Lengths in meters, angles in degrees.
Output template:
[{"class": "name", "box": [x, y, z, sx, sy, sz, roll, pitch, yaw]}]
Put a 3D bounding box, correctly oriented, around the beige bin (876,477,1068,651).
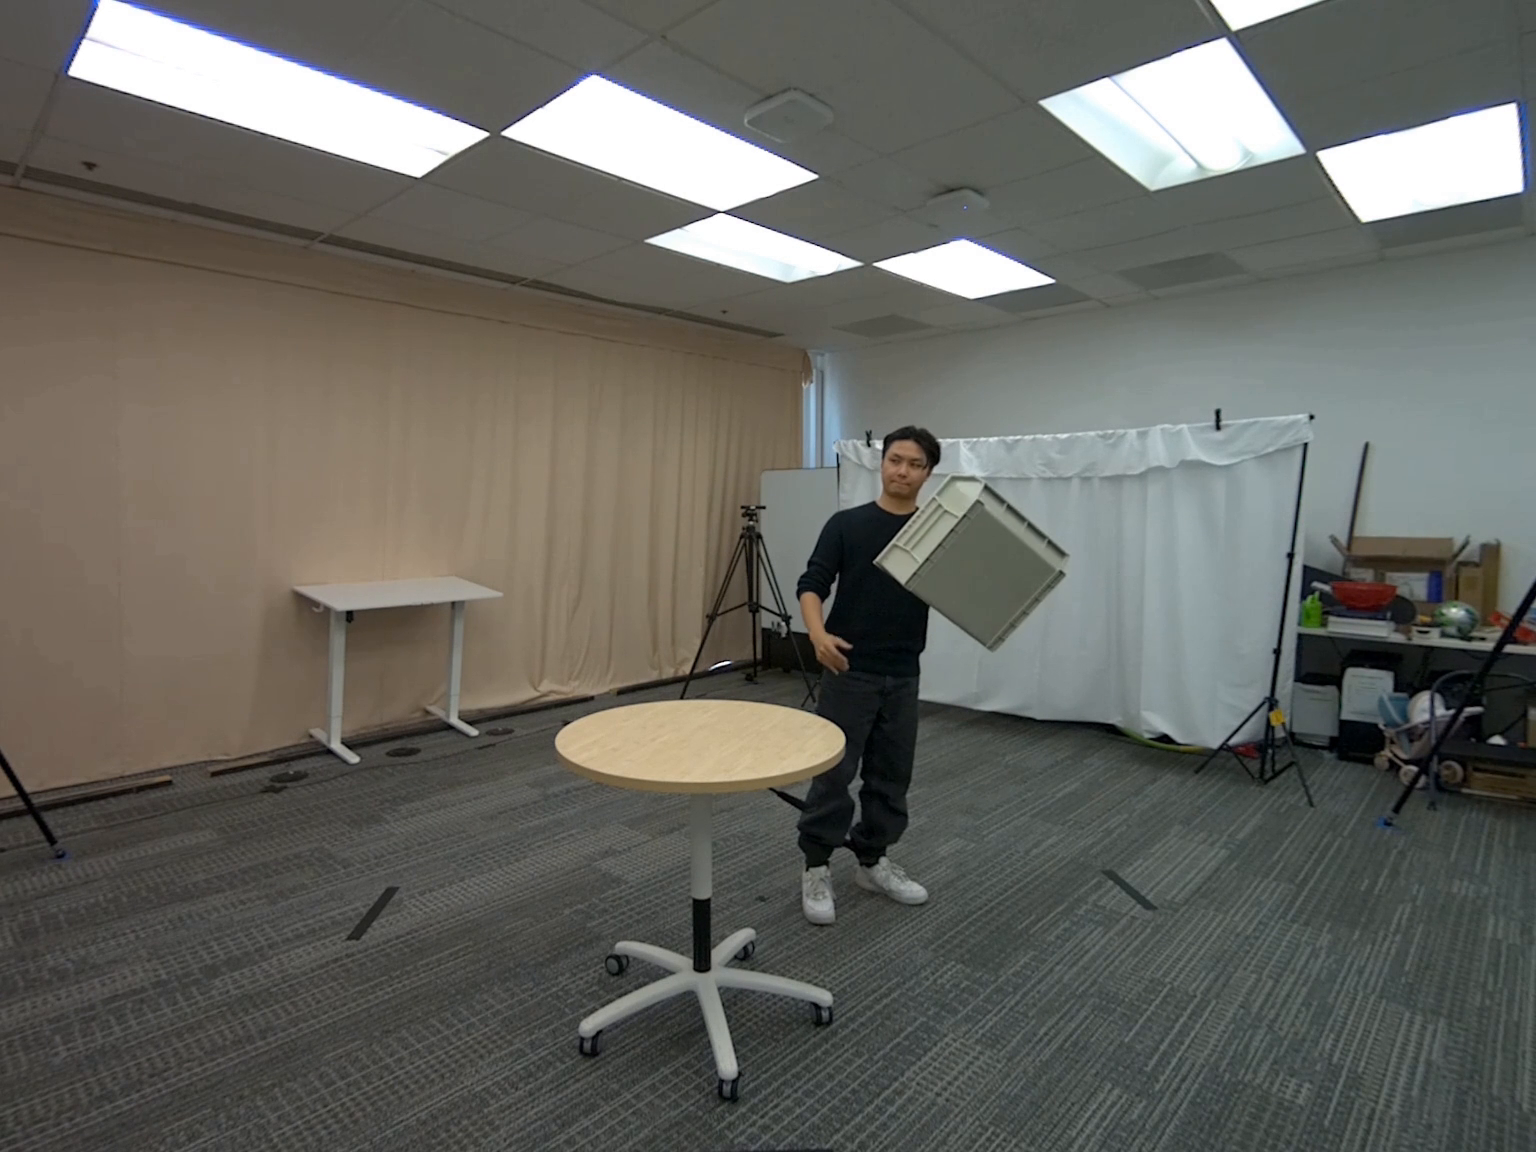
[{"class": "beige bin", "box": [0.611, -0.037, 2.481, 0.410, 0.378, 0.194, 35, 10, -26]}]
